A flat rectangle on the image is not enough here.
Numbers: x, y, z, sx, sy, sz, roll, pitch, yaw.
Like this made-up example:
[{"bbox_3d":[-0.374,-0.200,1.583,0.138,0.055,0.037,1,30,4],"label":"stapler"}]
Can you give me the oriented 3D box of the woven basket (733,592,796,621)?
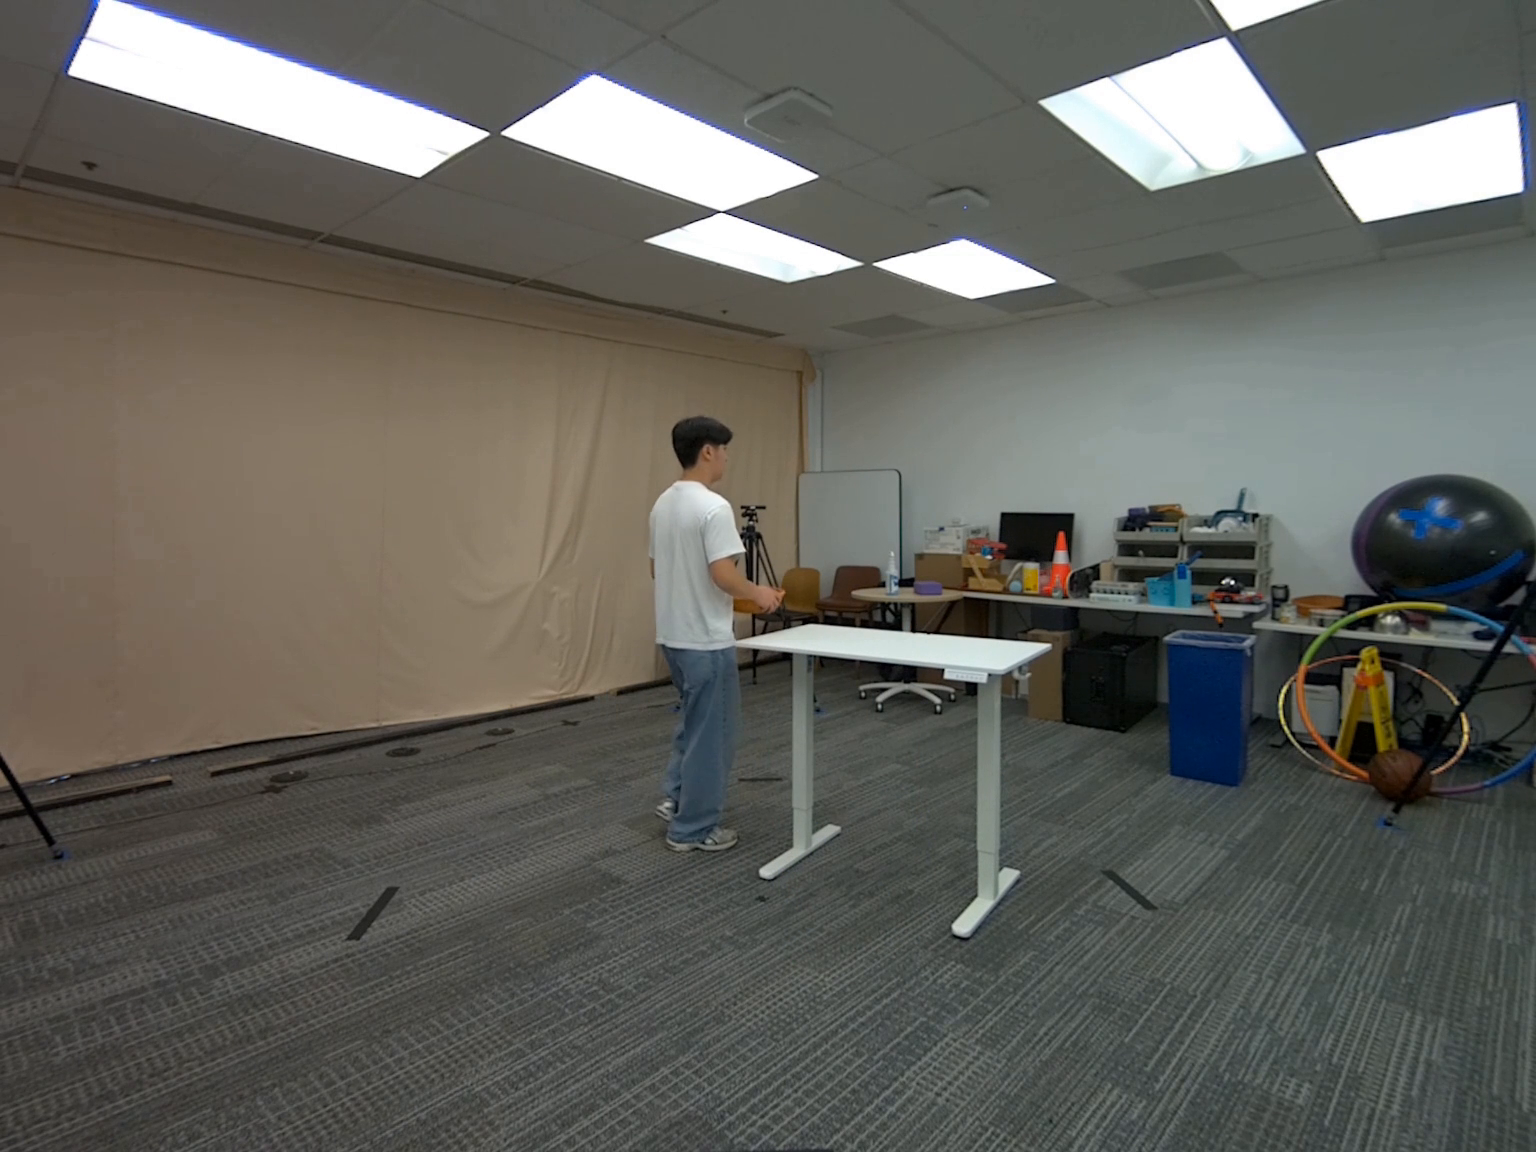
[{"bbox_3d":[-0.097,0.109,3.551,0.246,0.073,0.361,-10,9,-33],"label":"woven basket"}]
